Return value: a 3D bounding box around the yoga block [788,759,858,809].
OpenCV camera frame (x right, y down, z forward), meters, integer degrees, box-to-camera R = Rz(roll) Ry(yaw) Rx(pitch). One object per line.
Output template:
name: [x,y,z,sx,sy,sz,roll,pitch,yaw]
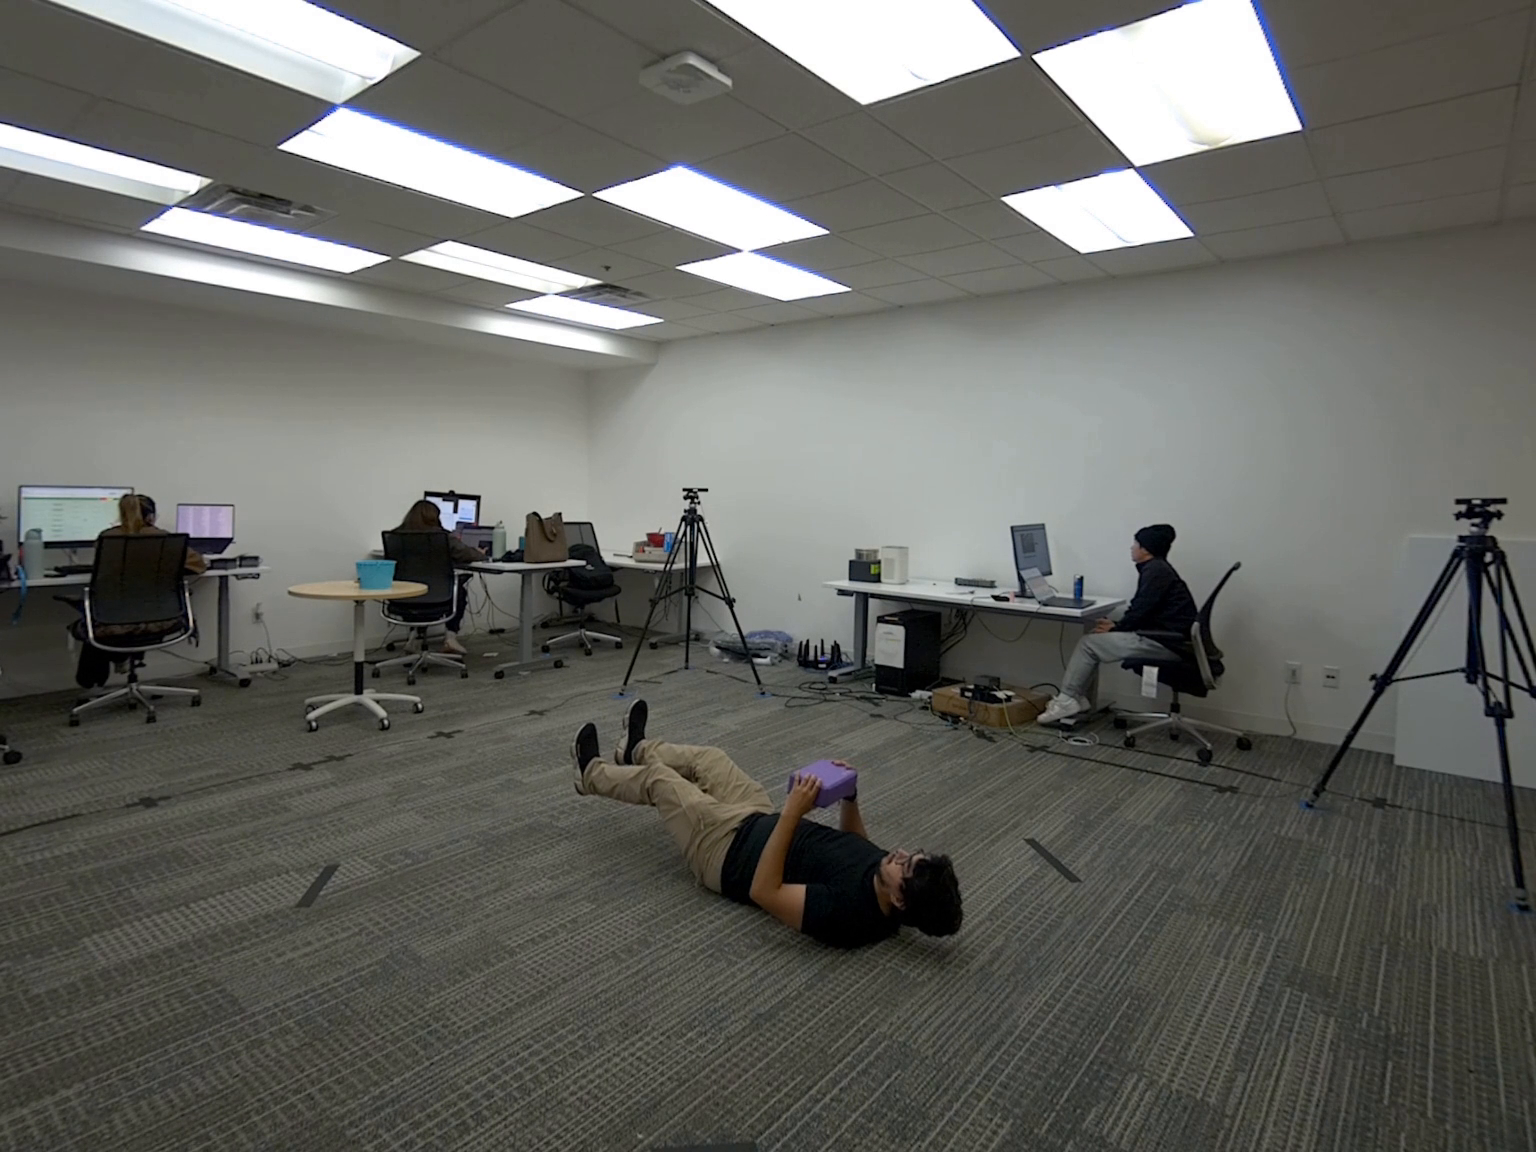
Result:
yoga block: [0.180,0.693,2.851,0.154,0.076,0.223,12,10,29]
